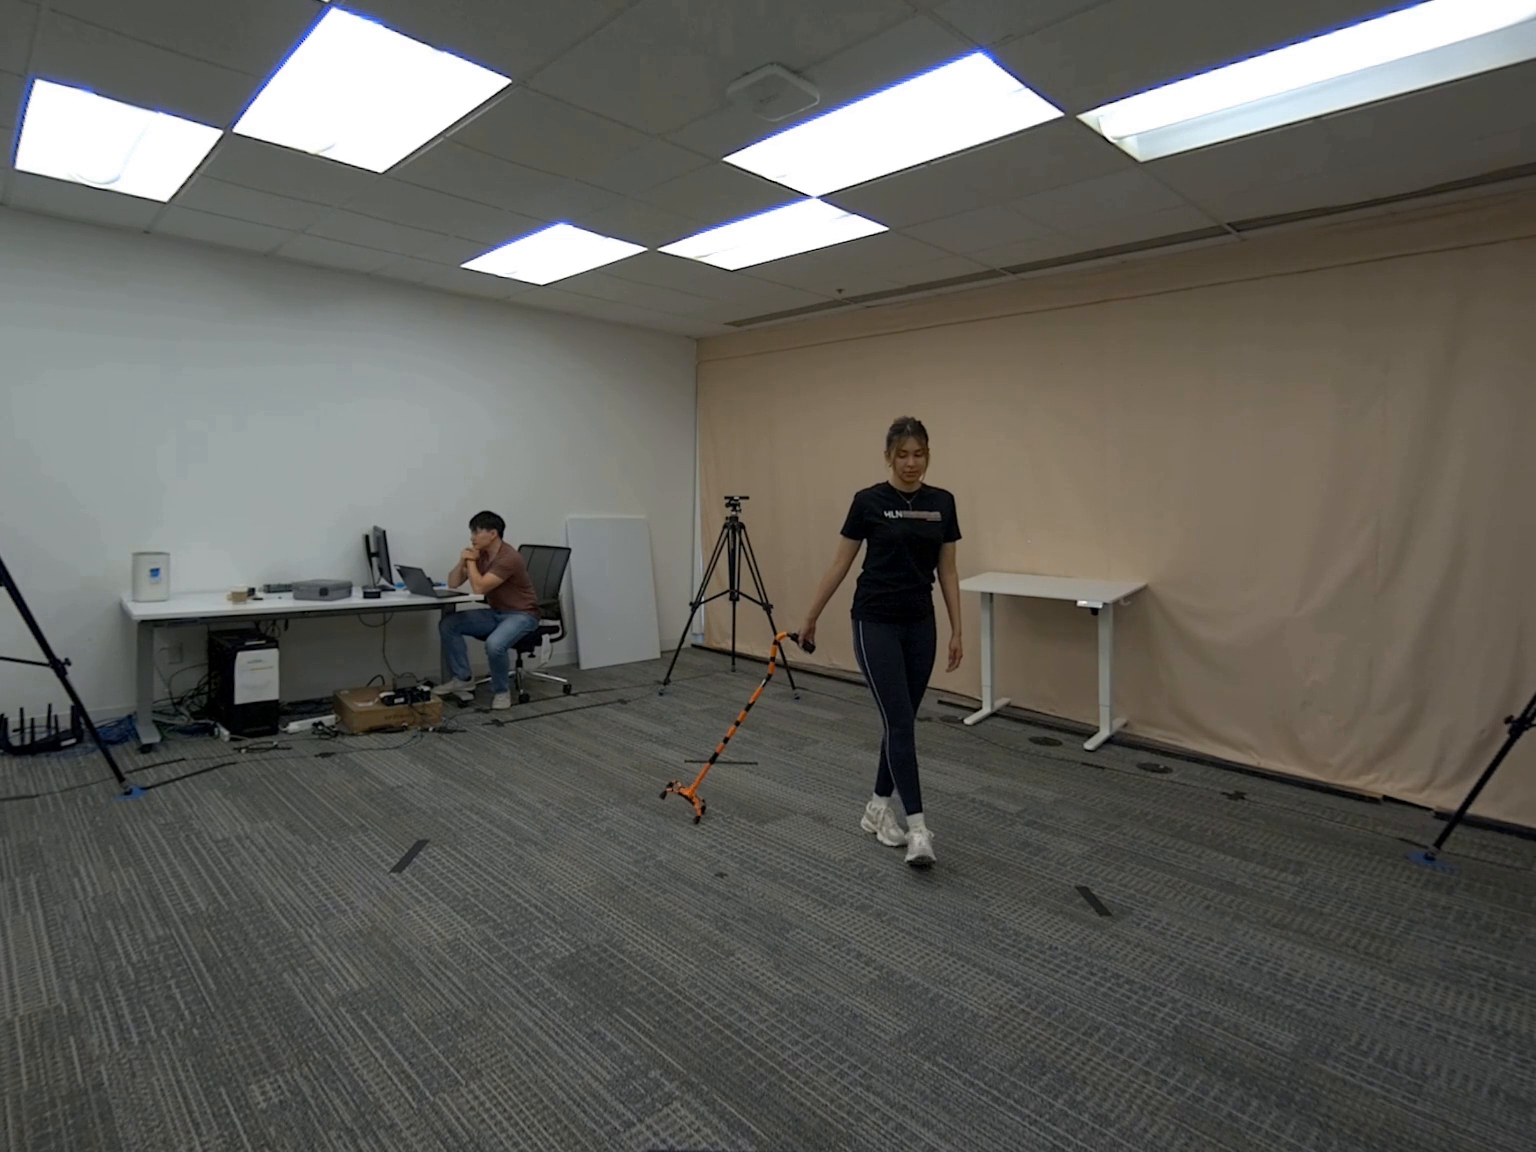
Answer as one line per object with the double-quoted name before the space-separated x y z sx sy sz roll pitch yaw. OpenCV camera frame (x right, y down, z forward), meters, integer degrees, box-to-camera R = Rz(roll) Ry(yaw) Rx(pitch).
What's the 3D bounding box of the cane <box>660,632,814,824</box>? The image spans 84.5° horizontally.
"cane" -0.144 0.627 3.601 0.208 0.907 0.151 34 7 5
